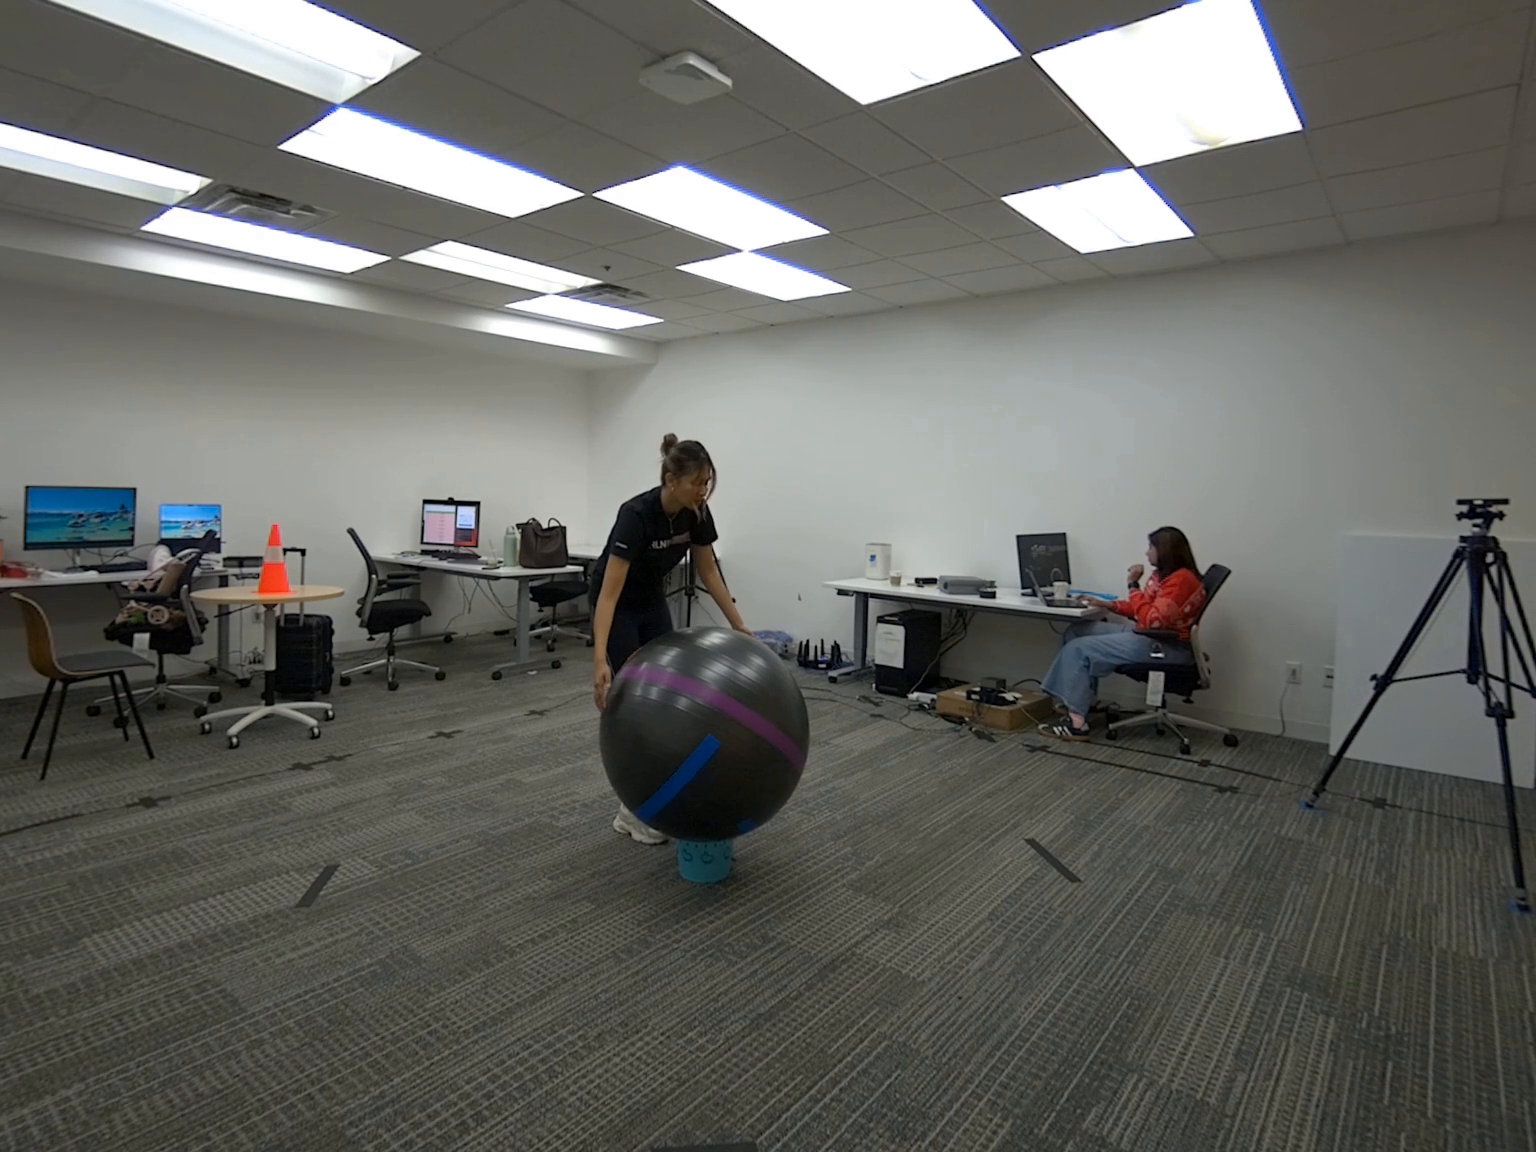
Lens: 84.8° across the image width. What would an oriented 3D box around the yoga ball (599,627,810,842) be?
[{"bbox_3d":[-0.236,0.561,3.071,0.757,0.756,0.761,1,4,-2],"label":"yoga ball"}]
